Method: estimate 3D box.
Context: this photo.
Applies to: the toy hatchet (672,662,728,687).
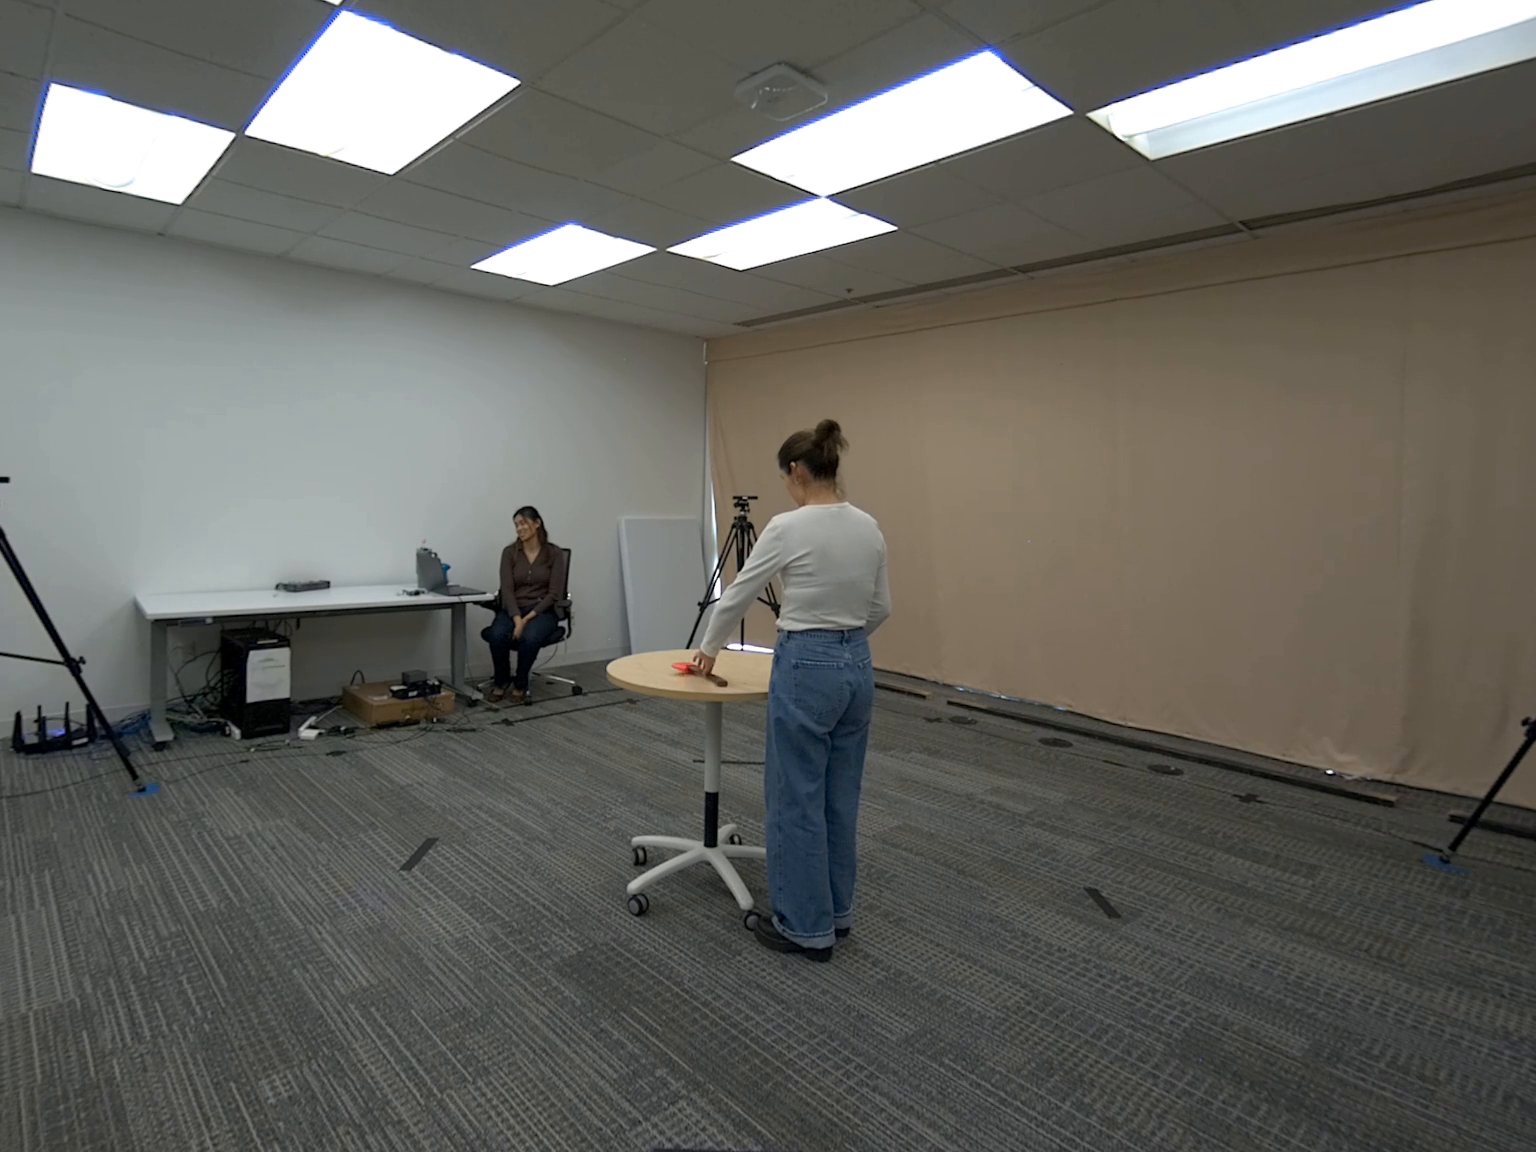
[{"bbox_3d":[-0.236,0.329,2.792,0.128,0.029,0.275,10,1,-23],"label":"toy hatchet"}]
